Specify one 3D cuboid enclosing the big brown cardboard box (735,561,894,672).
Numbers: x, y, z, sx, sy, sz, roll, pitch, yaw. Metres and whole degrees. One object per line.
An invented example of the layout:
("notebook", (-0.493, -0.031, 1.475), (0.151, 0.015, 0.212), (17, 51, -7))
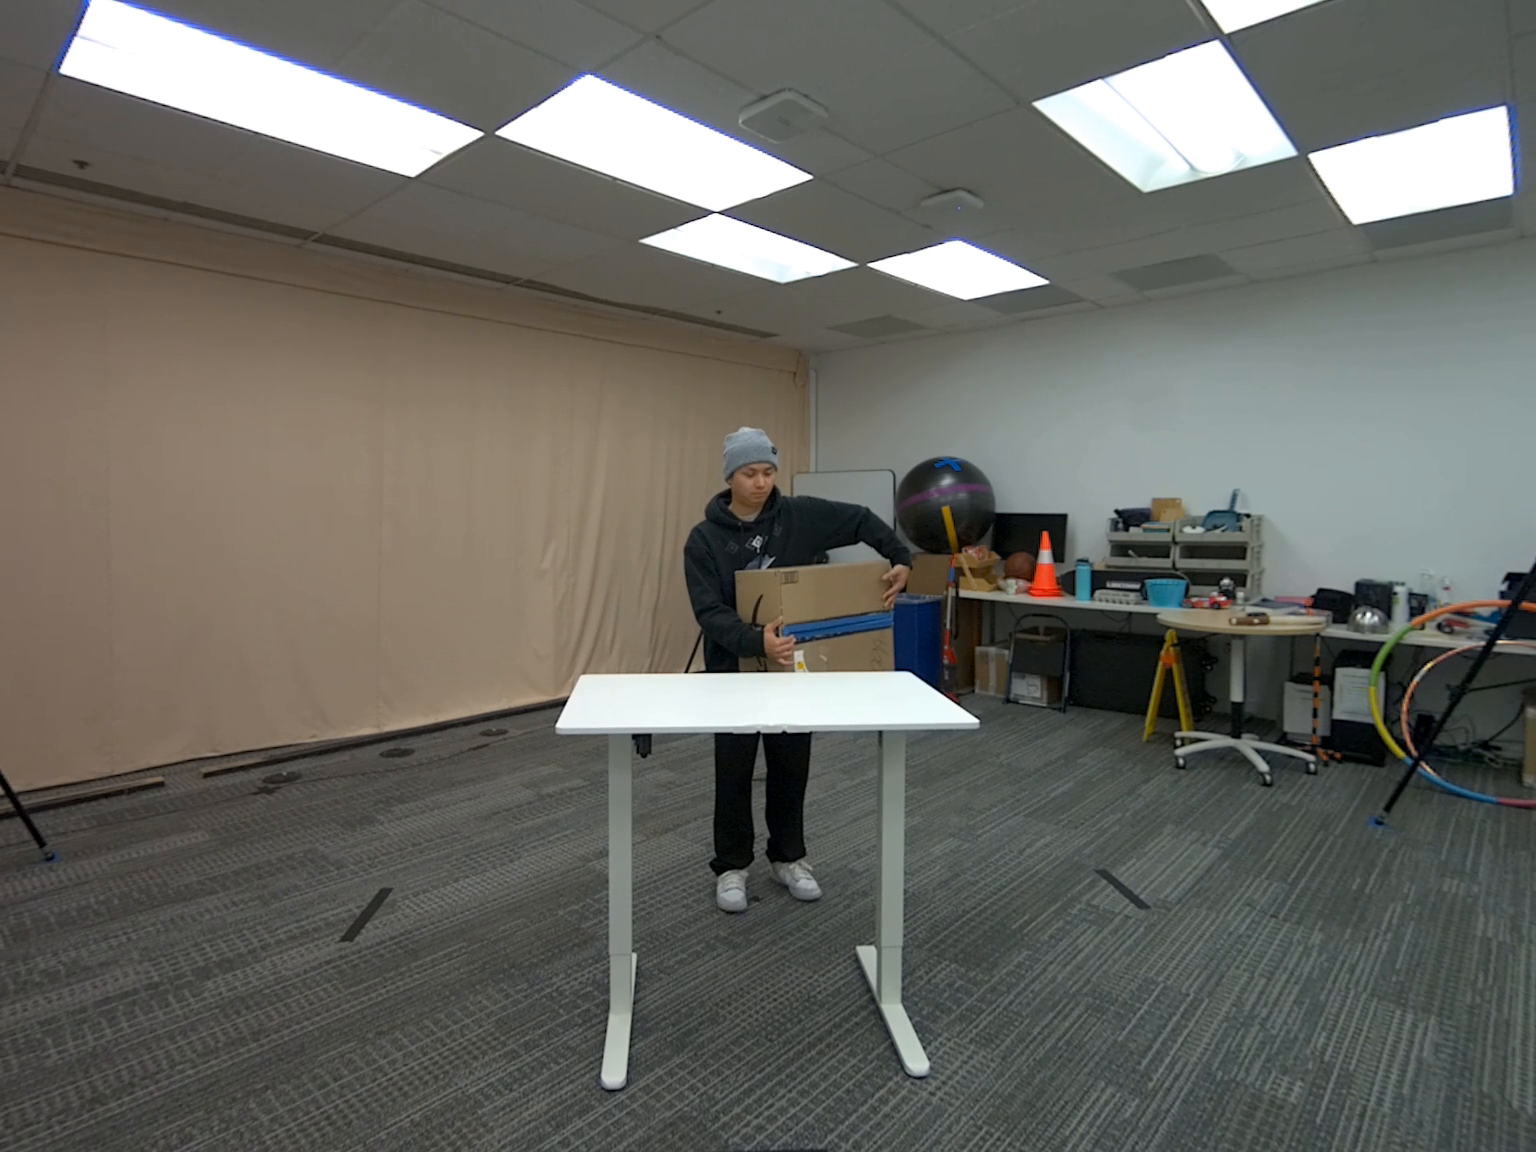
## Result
("big brown cardboard box", (0.174, 0.173, 2.921), (0.571, 0.417, 0.240), (-5, 2, -42))
